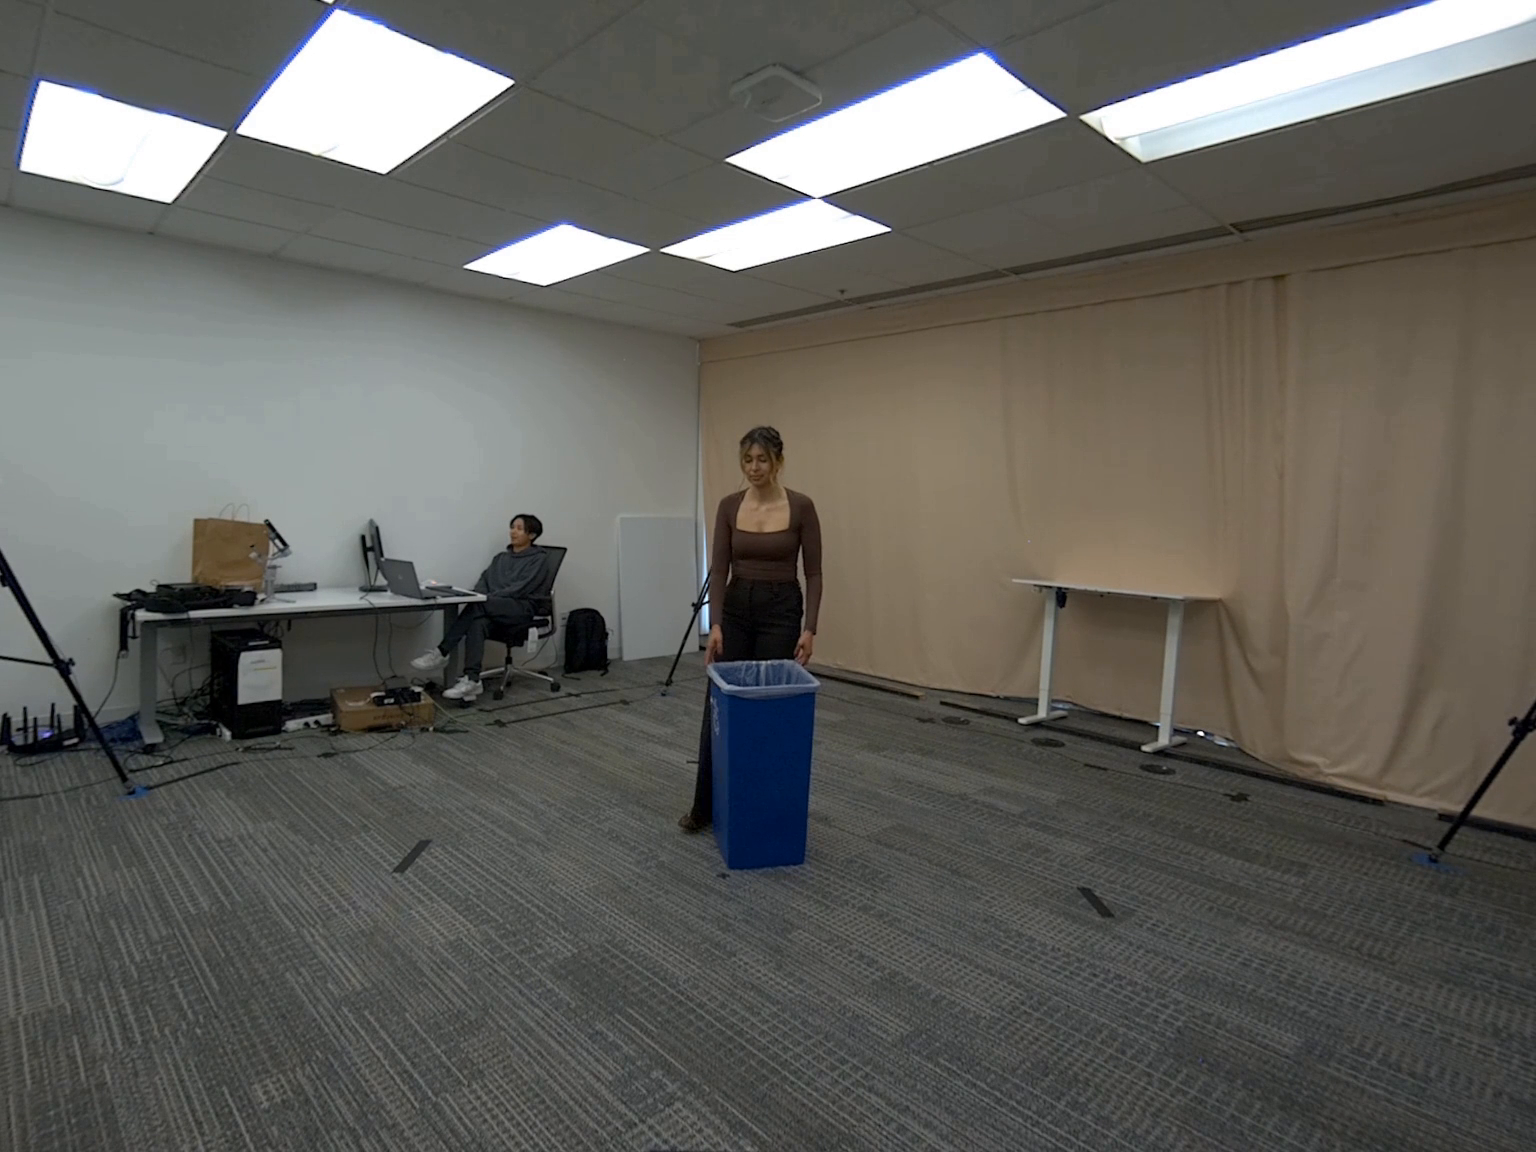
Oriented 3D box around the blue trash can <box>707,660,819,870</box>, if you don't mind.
[{"bbox_3d":[-0.046,0.729,3.275,0.370,0.710,0.384,0,7,-15],"label":"blue trash can"}]
